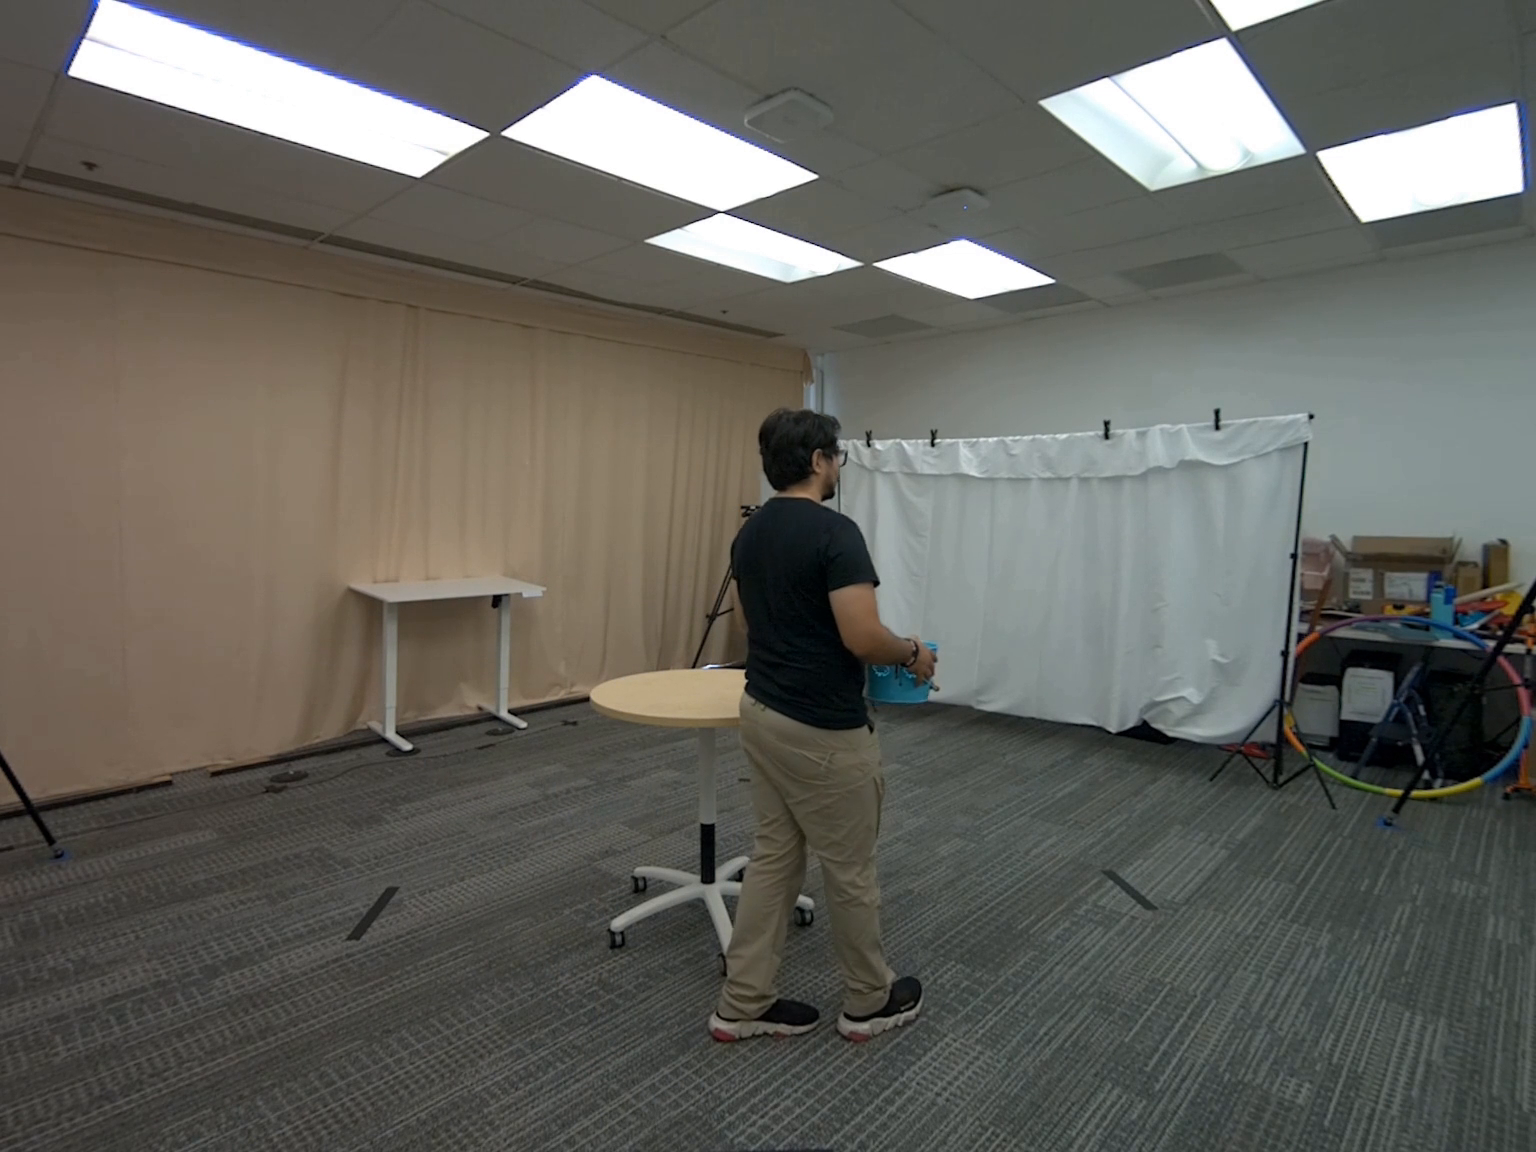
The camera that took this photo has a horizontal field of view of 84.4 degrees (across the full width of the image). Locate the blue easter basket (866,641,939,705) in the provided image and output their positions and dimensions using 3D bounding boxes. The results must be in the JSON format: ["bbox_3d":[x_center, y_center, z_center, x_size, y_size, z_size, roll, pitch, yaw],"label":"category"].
[{"bbox_3d":[0.374,0.272,2.340,0.243,0.155,0.244,1,5,-2],"label":"blue easter basket"}]
